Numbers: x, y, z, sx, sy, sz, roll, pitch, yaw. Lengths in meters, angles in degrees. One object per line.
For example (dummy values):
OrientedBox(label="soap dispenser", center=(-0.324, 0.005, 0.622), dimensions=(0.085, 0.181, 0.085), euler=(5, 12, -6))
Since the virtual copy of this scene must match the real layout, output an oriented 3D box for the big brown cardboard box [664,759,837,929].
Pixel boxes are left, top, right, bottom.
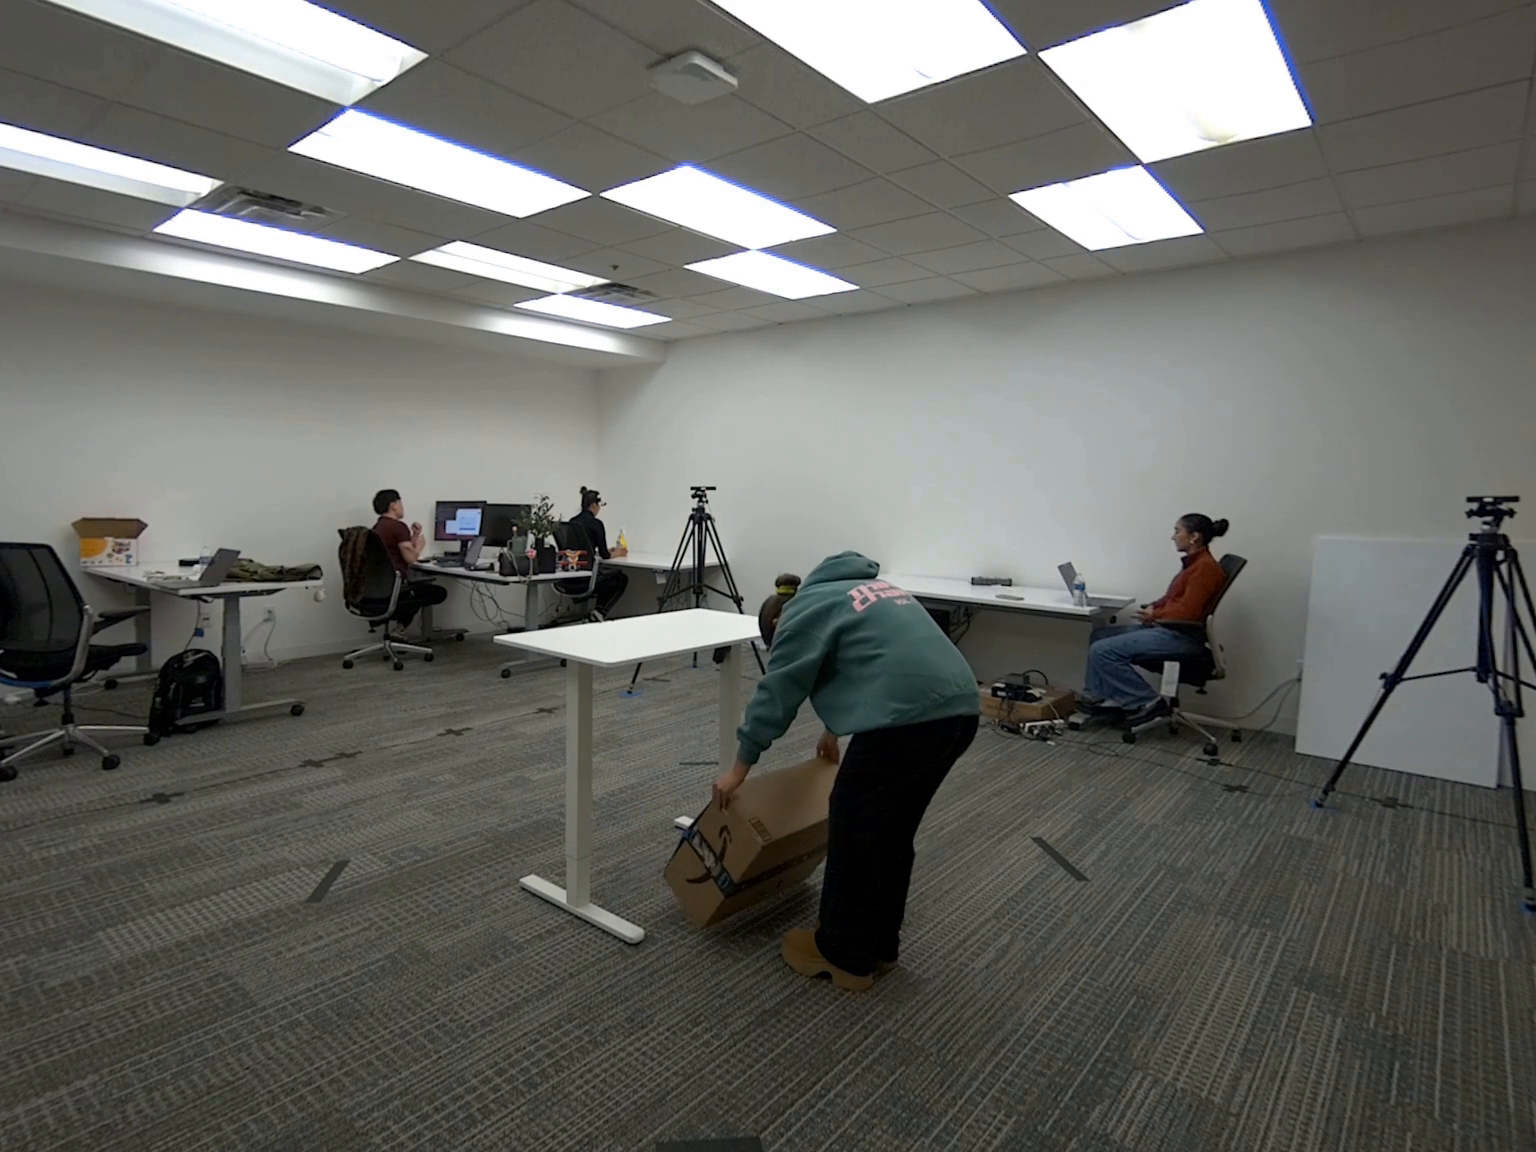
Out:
OrientedBox(label="big brown cardboard box", center=(-0.014, 0.847, 2.775), dimensions=(0.570, 0.415, 0.242), euler=(-1, 40, -50))
